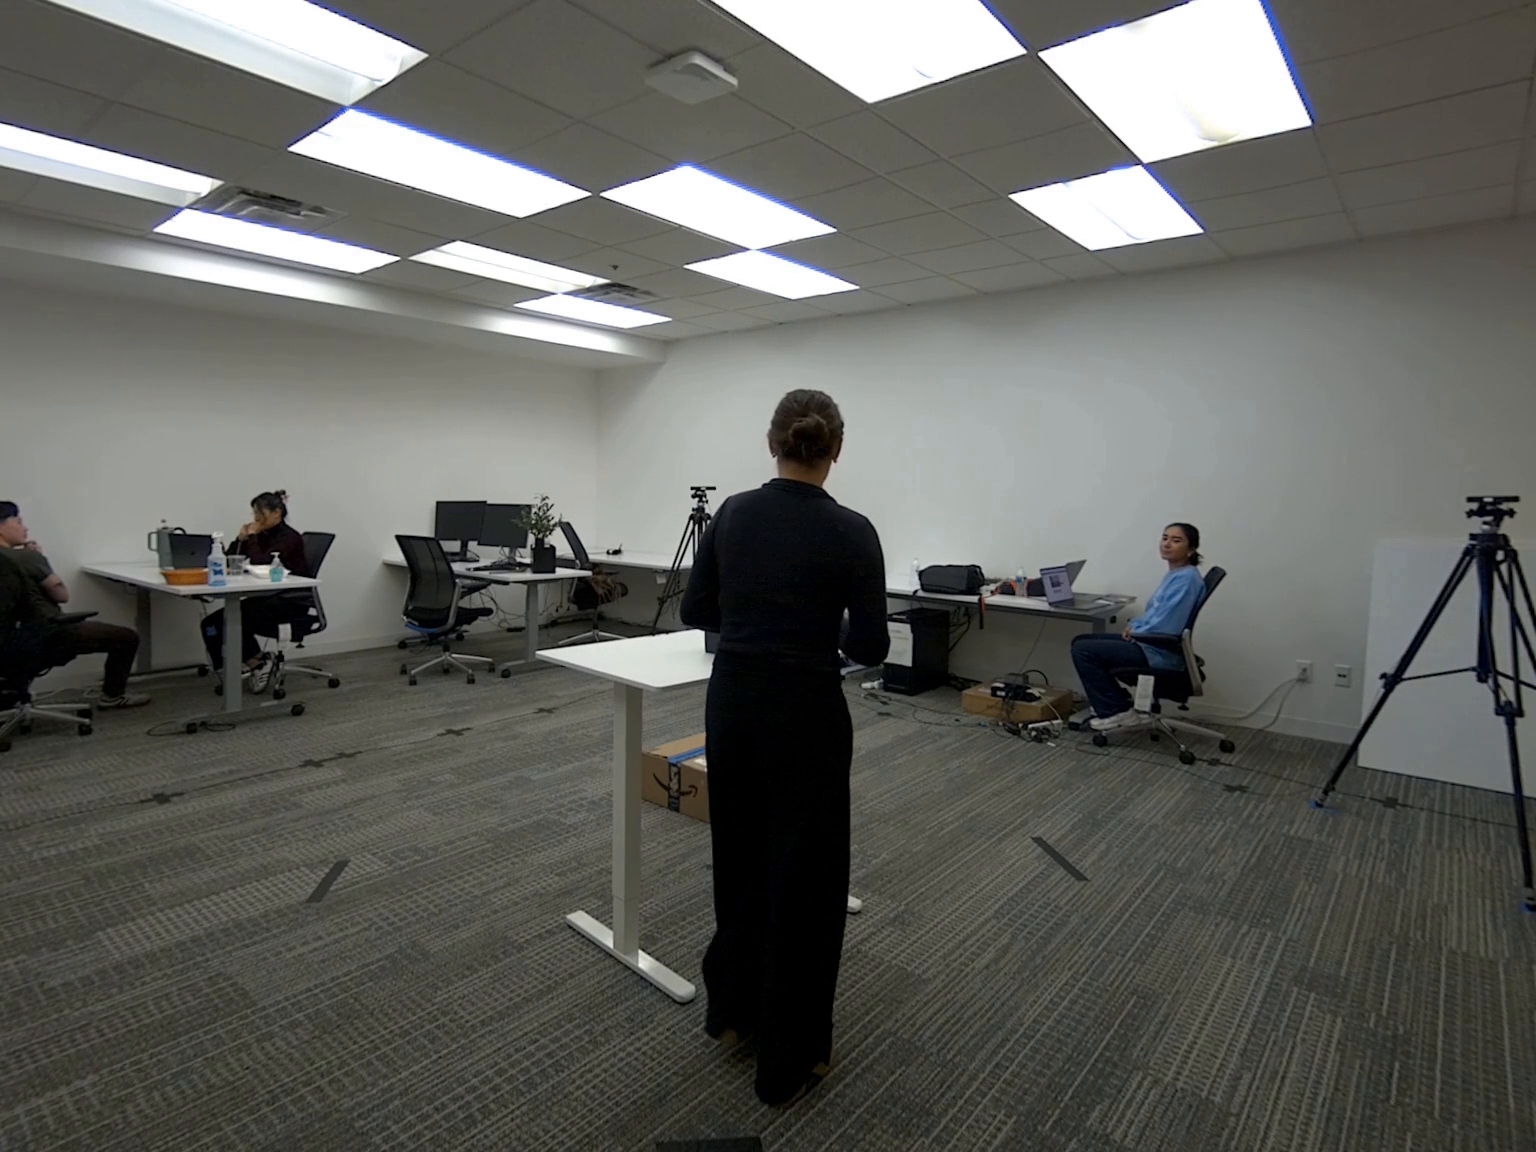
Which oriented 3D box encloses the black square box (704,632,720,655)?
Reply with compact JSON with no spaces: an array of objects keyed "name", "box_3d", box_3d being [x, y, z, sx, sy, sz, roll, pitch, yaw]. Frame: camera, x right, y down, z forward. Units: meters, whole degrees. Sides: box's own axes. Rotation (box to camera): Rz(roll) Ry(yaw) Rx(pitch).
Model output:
[{"name":"black square box","box_3d":[-0.047,0.155,2.622,0.224,0.155,0.221,5,6,42]}]
